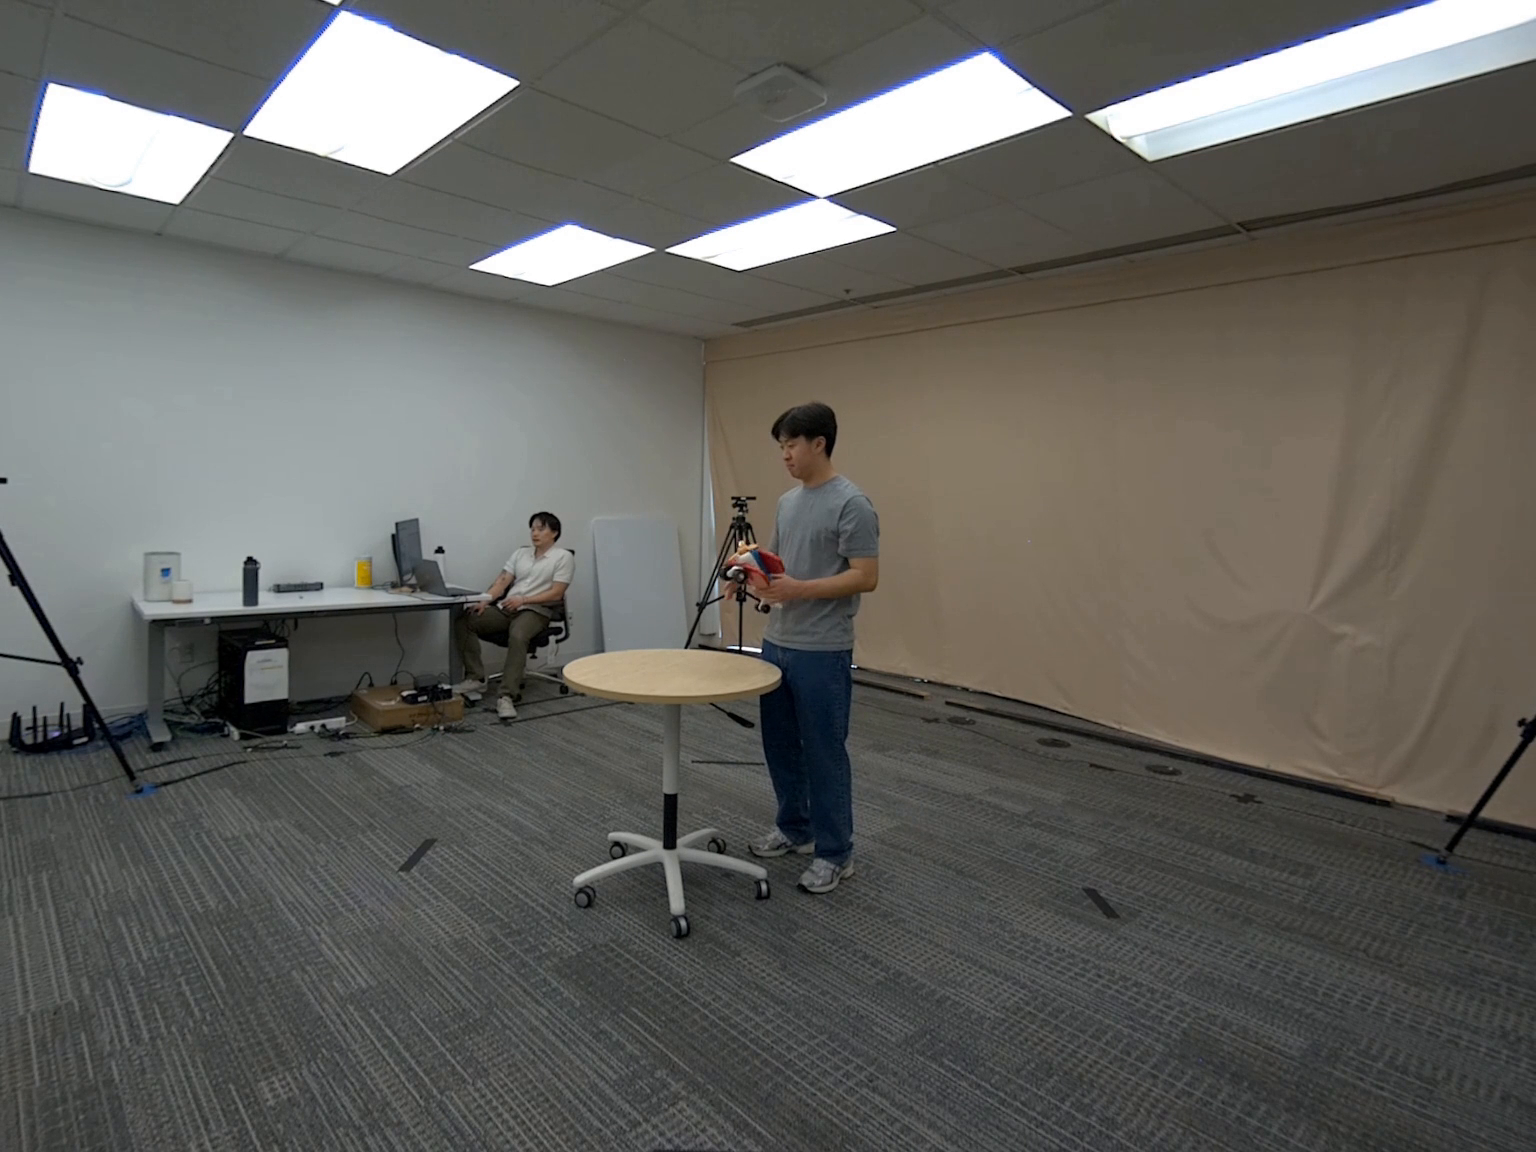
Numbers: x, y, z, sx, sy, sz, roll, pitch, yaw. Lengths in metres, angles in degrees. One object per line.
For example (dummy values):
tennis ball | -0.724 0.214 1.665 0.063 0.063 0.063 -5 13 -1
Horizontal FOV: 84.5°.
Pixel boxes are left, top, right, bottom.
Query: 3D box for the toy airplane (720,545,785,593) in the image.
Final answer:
toy airplane | -0.064 -0.004 2.984 0.258 0.156 0.252 30 -15 31
